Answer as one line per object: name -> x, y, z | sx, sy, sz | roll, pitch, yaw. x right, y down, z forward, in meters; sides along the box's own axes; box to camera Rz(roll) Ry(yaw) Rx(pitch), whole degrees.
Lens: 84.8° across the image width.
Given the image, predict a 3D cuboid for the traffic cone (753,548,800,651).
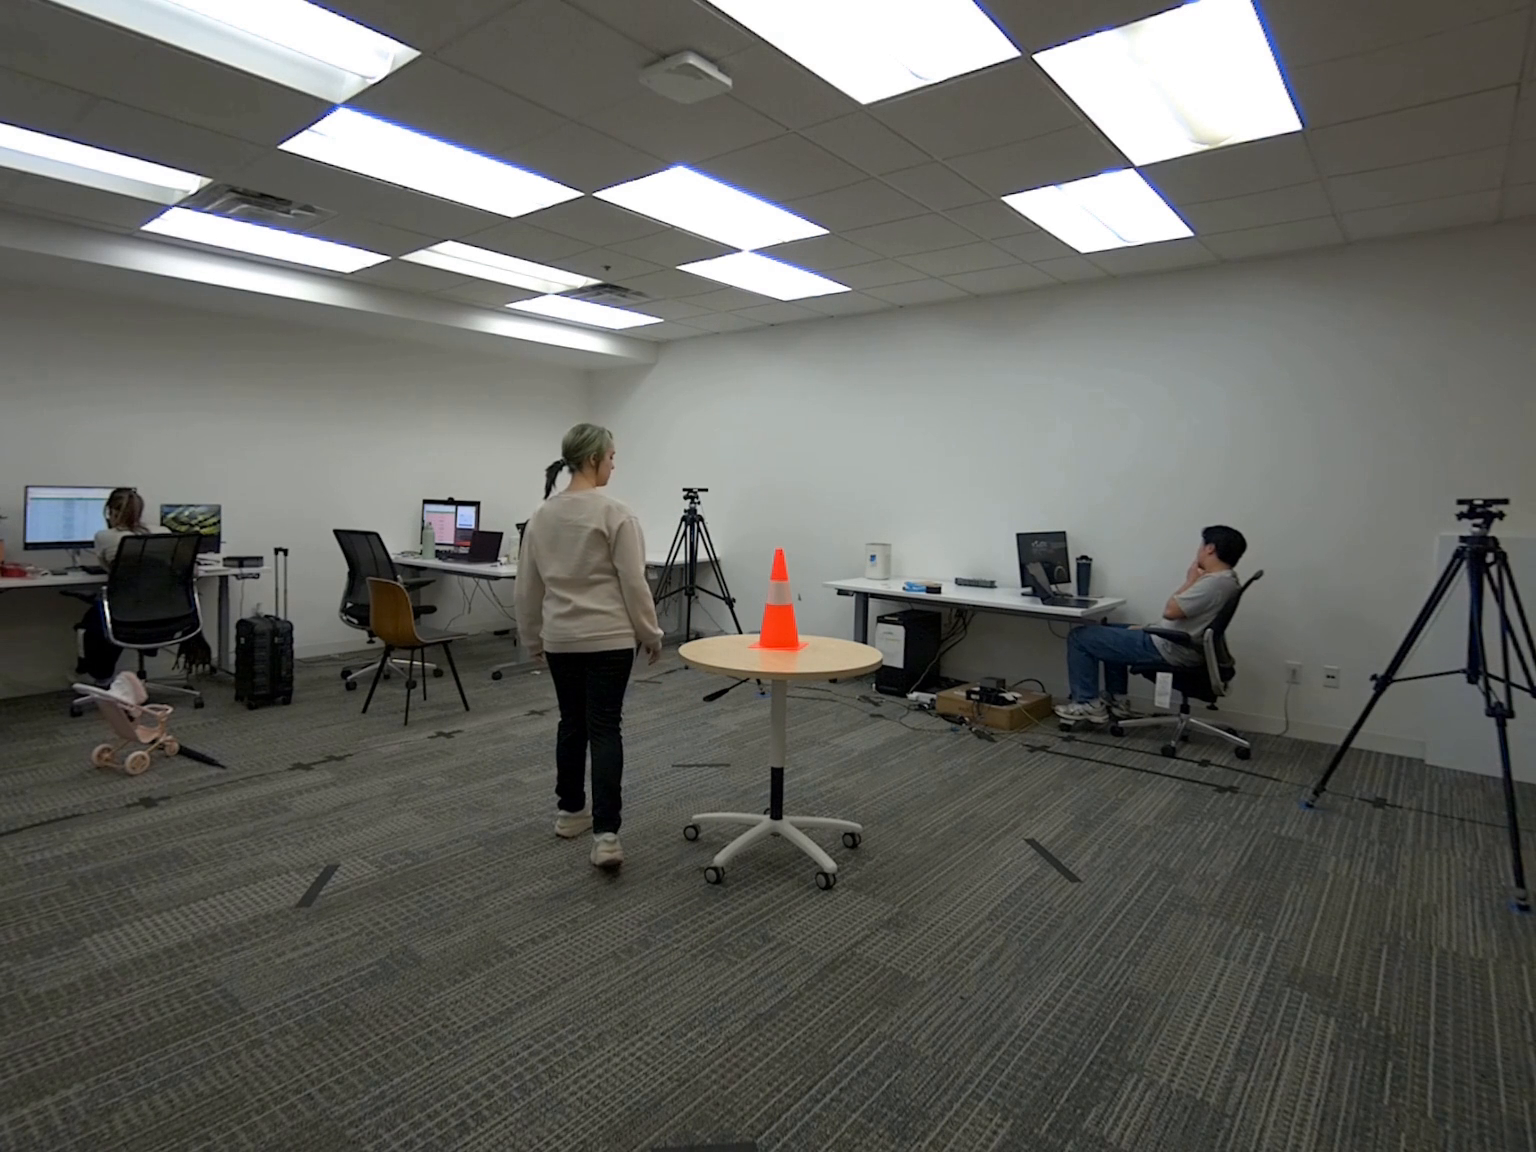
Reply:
traffic cone -> 0.037, 0.084, 3.316 | 0.210, 0.382, 0.199 | 3, 5, 24
